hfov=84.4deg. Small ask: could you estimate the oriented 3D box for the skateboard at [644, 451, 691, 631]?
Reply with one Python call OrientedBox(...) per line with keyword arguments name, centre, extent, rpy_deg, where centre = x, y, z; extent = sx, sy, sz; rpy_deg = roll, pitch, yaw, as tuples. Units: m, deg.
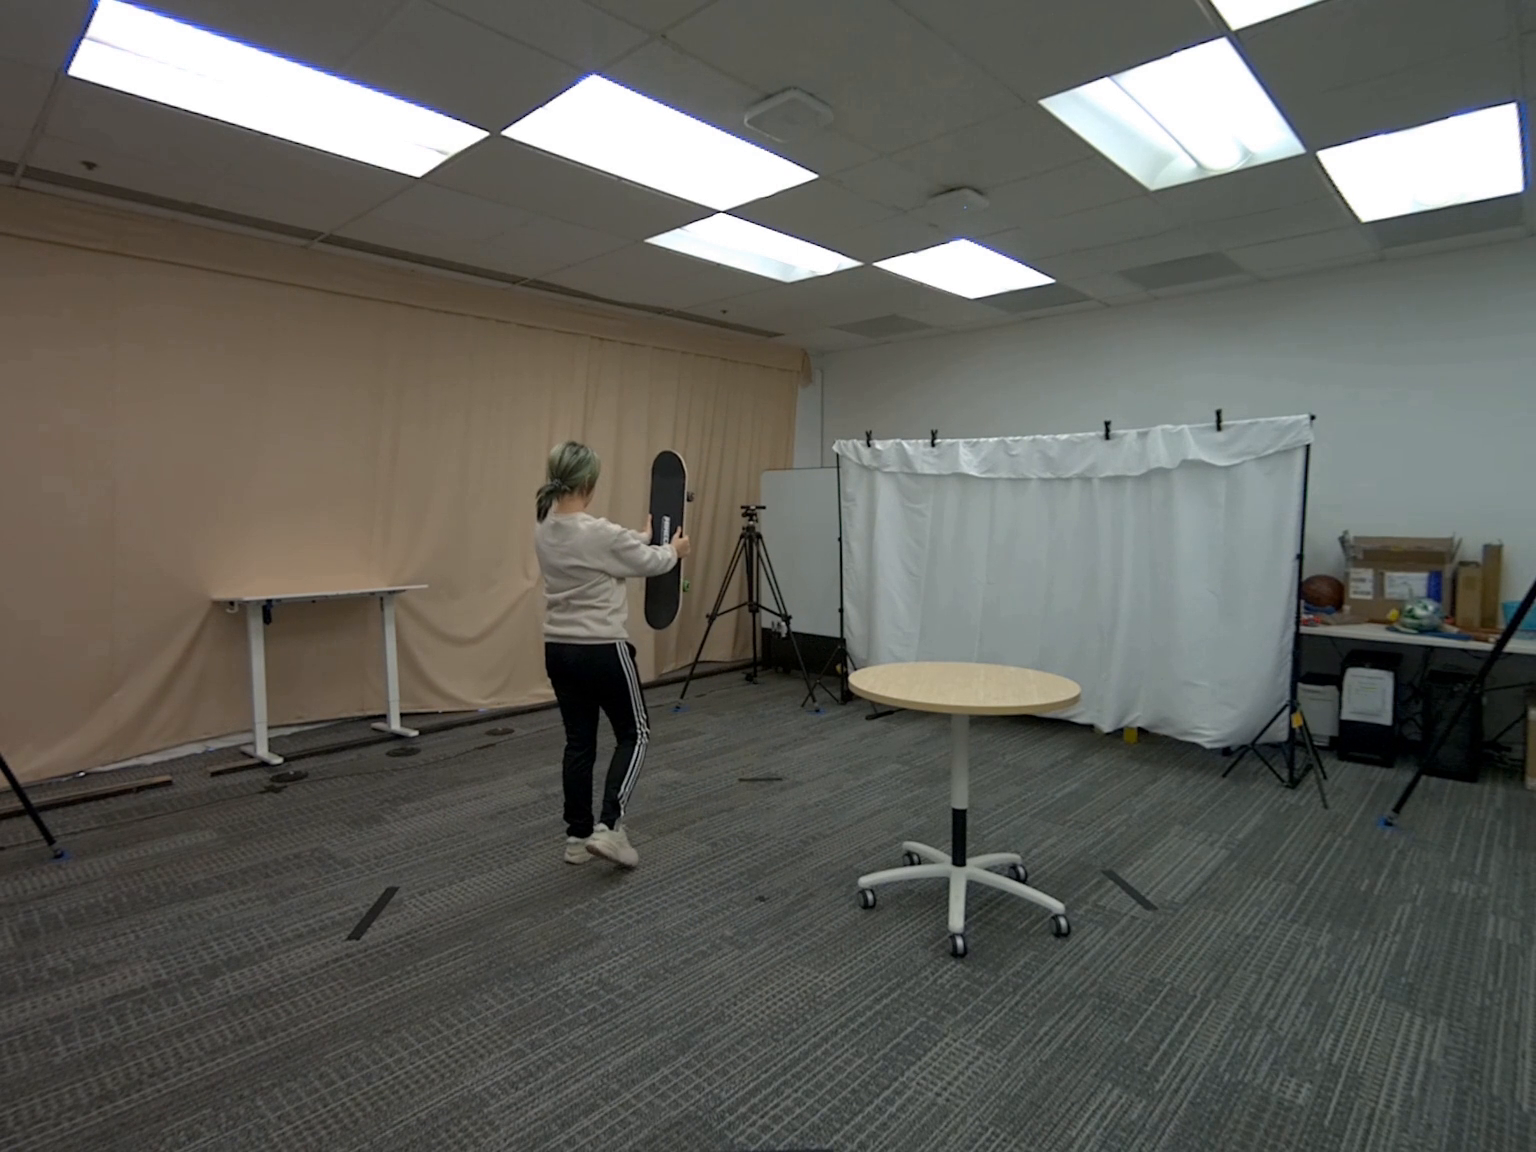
OrientedBox(name="skateboard", centre=(-0.427, -0.157, 3.723), extent=(0.199, 0.788, 0.107), rpy_deg=(-2, -6, 31))
